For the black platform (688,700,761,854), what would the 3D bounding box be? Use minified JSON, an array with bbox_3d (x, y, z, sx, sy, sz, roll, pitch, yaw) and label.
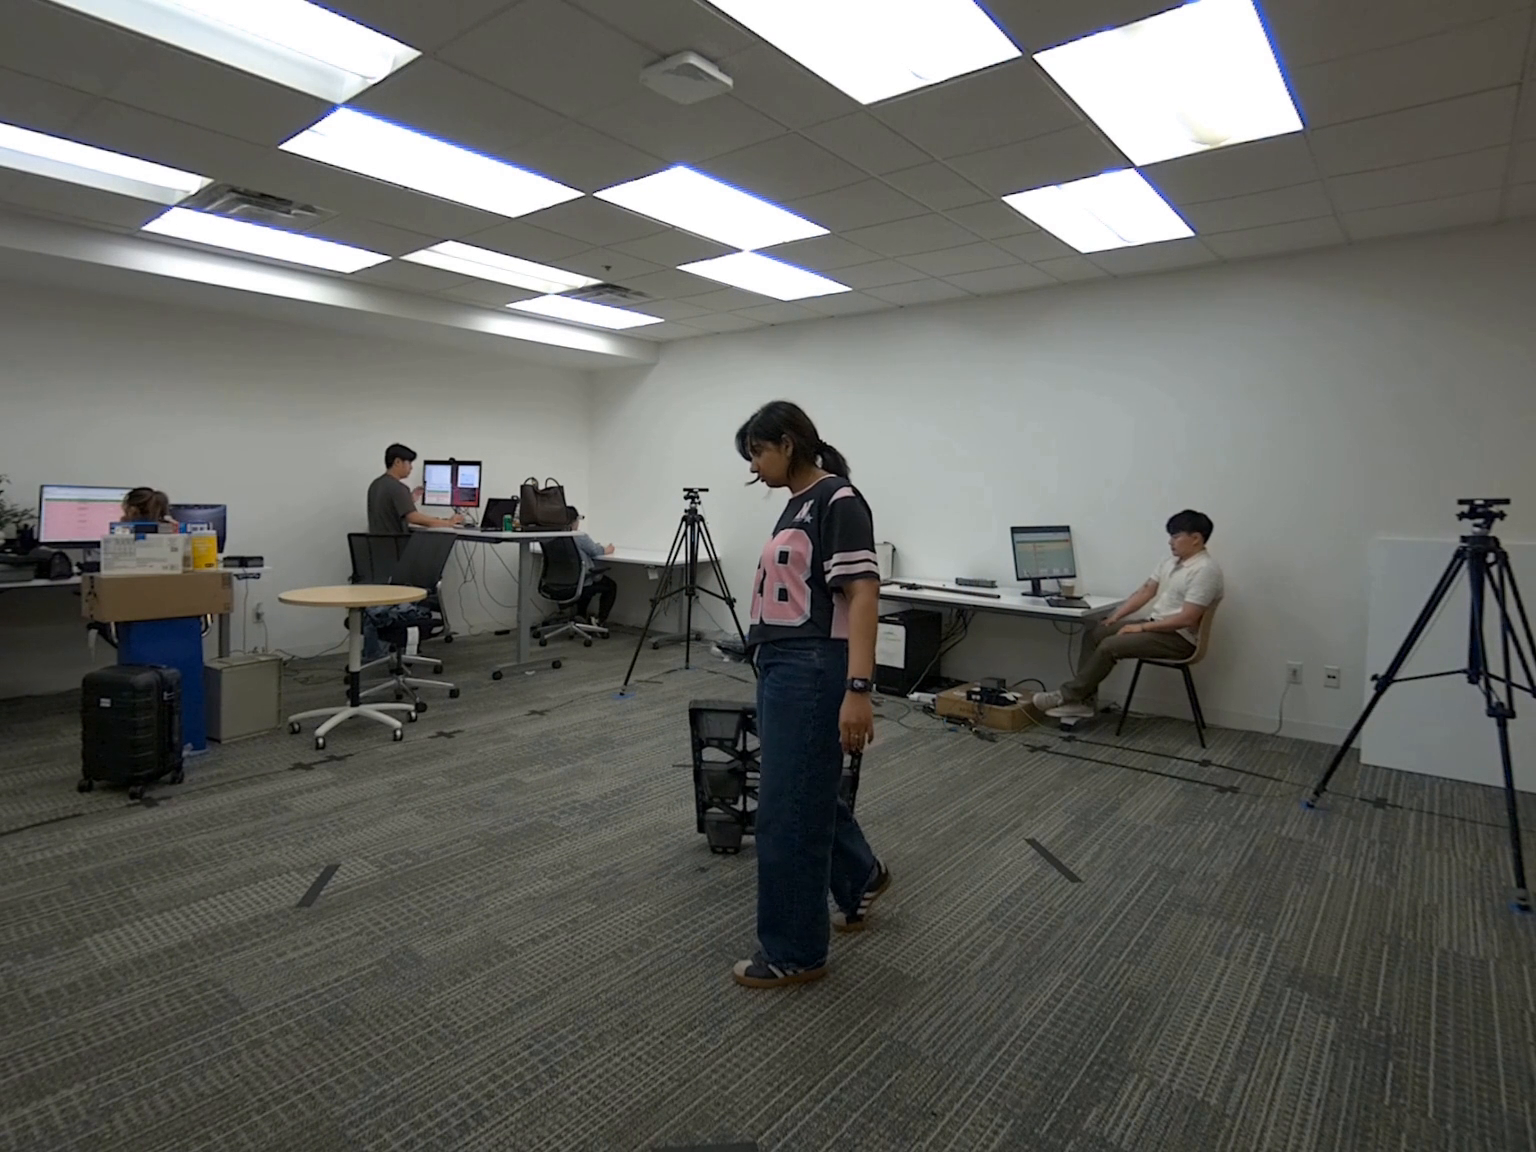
[{"bbox_3d":[0.023,0.753,3.047,0.607,0.783,0.147,2,42,2],"label":"black platform"}]
